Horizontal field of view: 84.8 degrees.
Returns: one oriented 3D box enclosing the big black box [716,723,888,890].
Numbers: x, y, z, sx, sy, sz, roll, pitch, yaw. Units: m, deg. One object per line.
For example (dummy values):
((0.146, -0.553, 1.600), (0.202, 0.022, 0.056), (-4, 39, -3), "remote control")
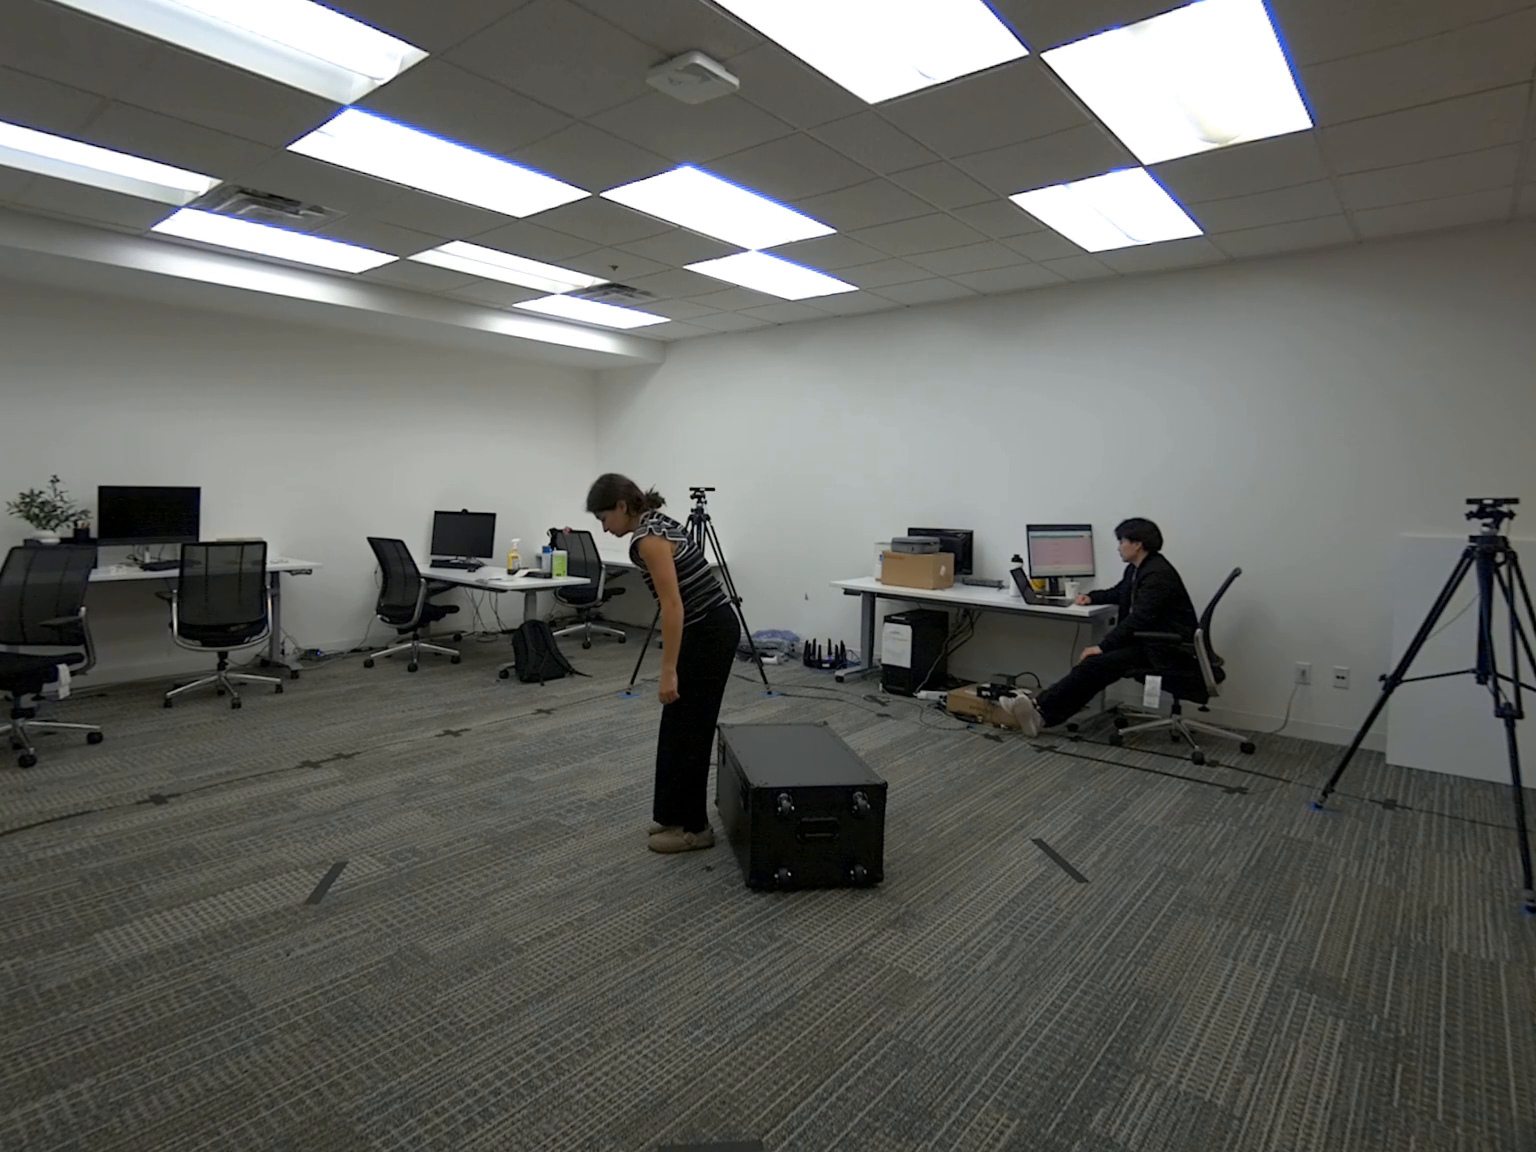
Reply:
((0.087, 0.861, 3.285), (0.515, 0.395, 0.875), (0, 5, -12), "big black box")
